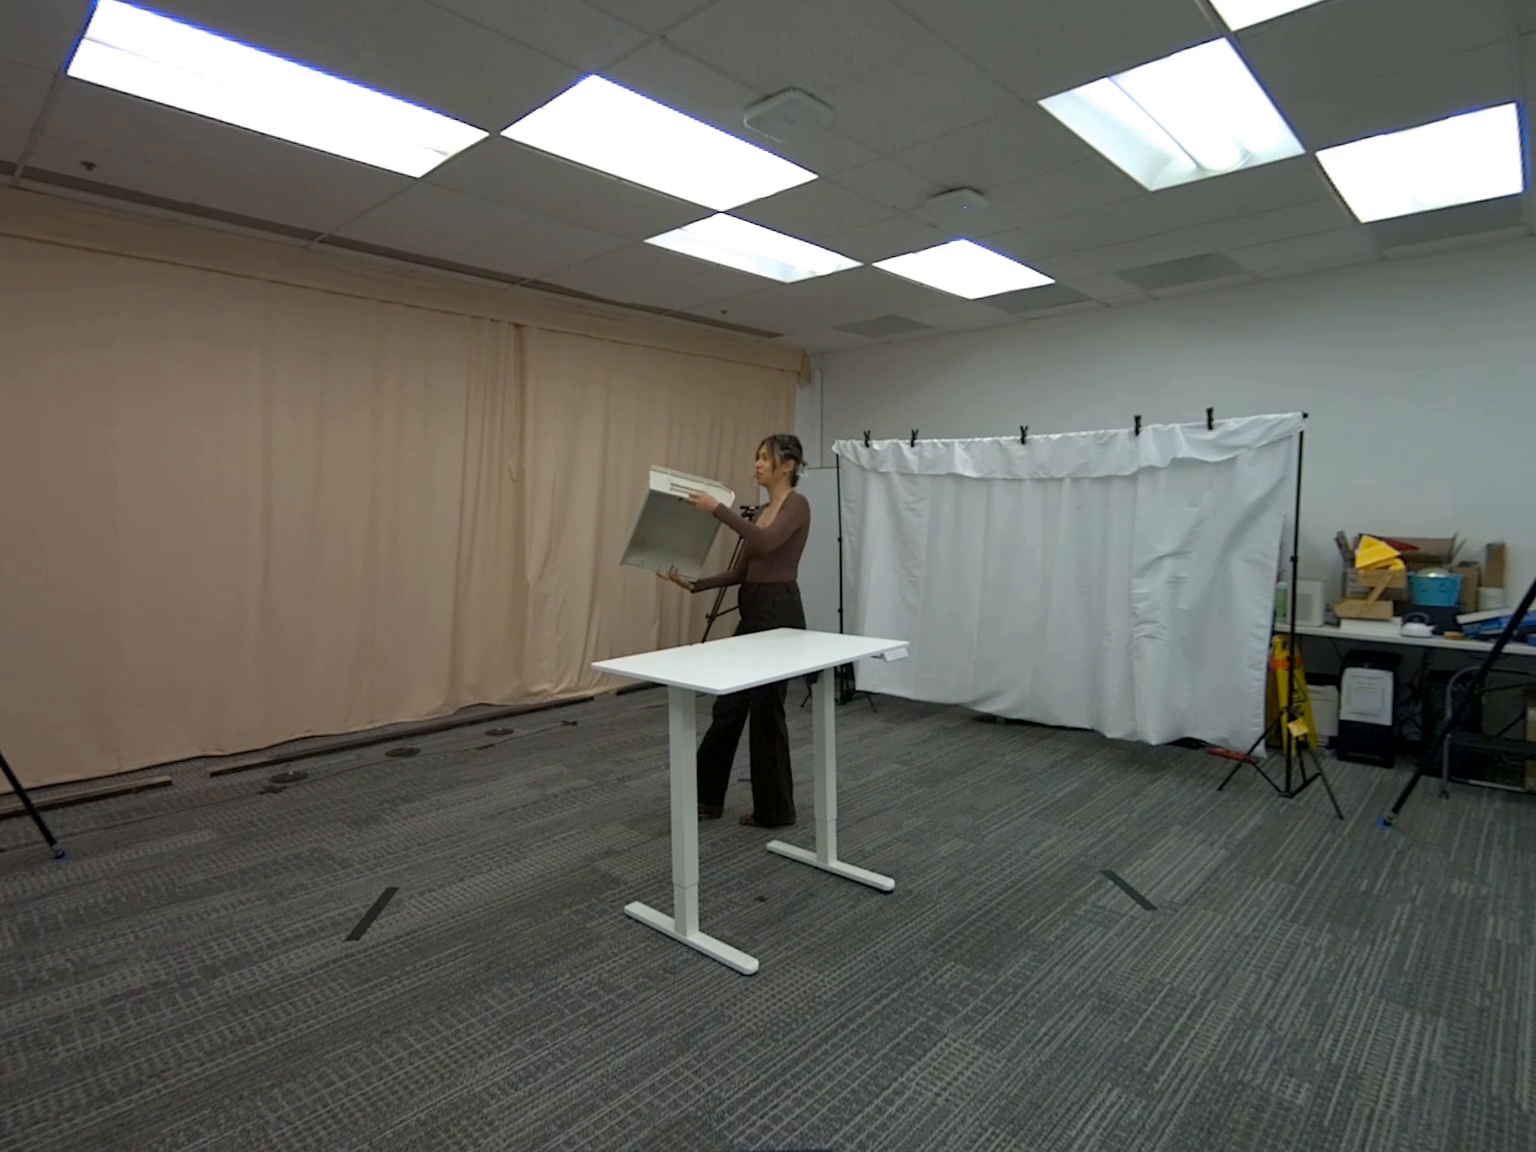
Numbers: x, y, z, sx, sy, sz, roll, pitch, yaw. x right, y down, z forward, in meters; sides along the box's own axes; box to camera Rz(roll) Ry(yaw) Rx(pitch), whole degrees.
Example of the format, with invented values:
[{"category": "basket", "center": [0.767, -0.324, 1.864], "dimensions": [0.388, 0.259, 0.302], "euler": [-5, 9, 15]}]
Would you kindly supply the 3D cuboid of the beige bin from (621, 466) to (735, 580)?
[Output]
[{"category": "beige bin", "center": [-0.388, -0.211, 3.588], "dimensions": [0.370, 0.421, 0.193], "euler": [16, 37, -17]}]
